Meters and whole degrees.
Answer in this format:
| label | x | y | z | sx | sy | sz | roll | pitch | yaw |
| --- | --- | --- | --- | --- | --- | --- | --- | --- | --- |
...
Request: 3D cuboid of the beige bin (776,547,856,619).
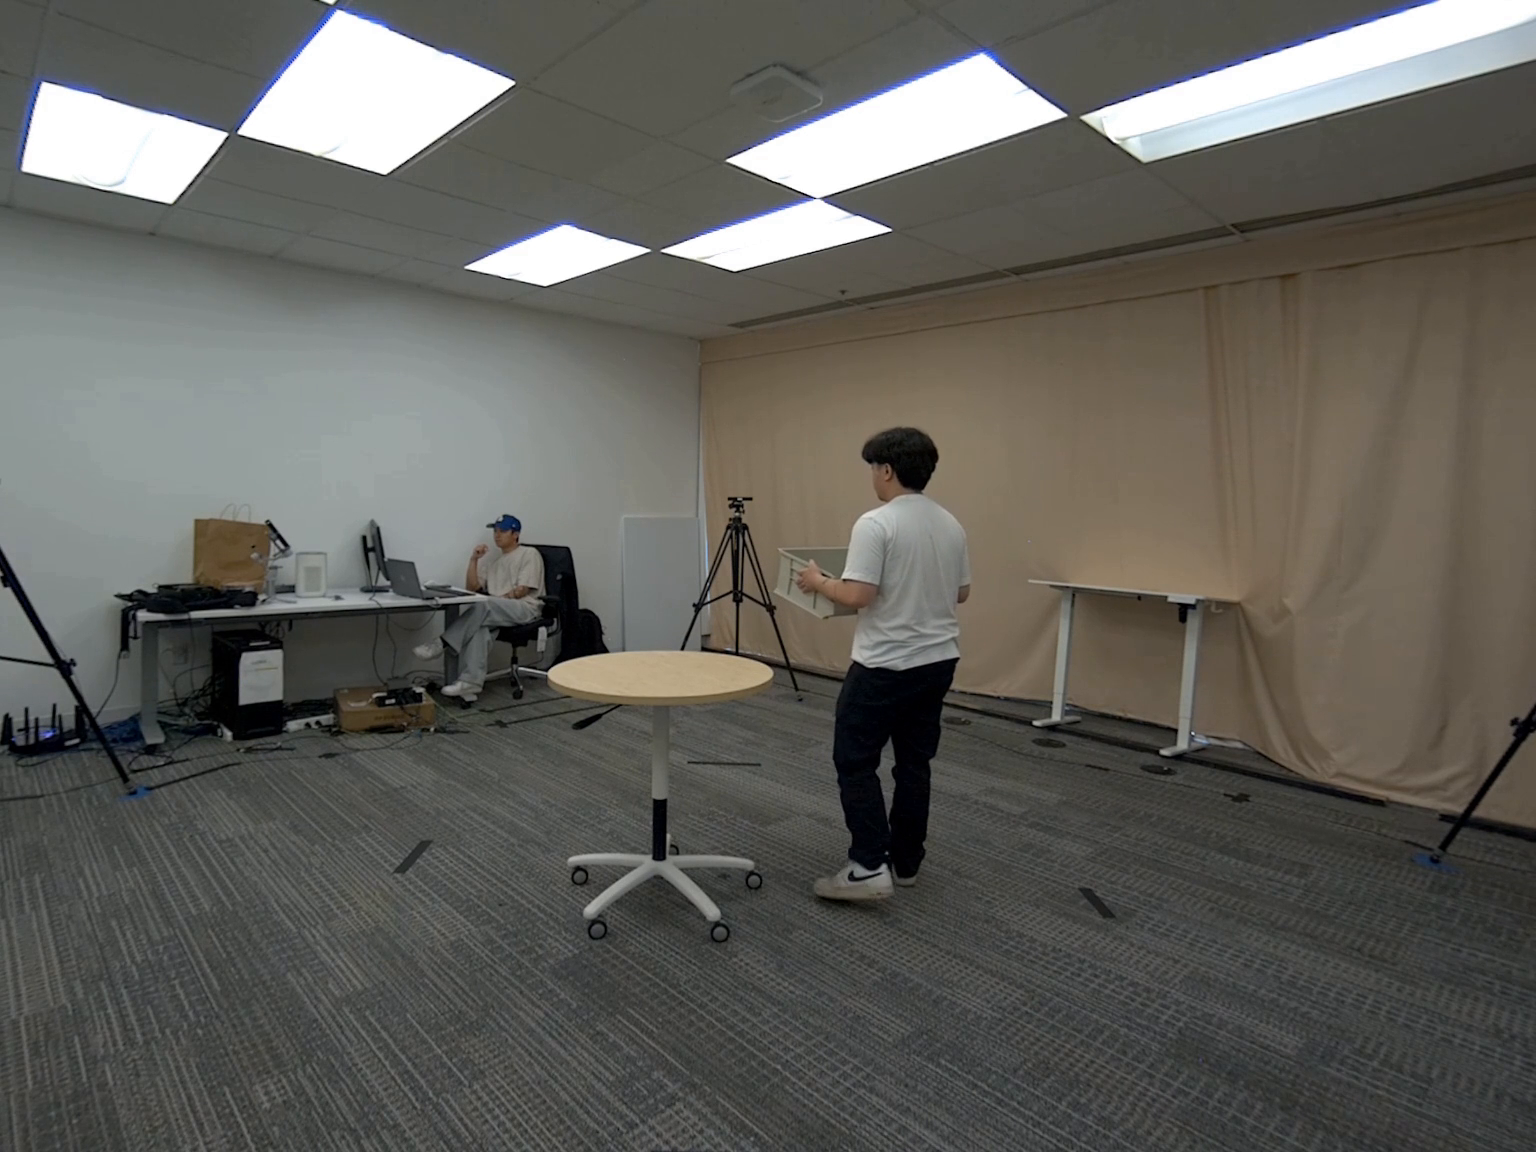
| label | x | y | z | sx | sy | sz | roll | pitch | yaw |
| --- | --- | --- | --- | --- | --- | --- | --- | --- | --- |
| beige bin | 0.297 | 0.028 | 3.317 | 0.413 | 0.187 | 0.388 | -3 | 17 | -33 |
